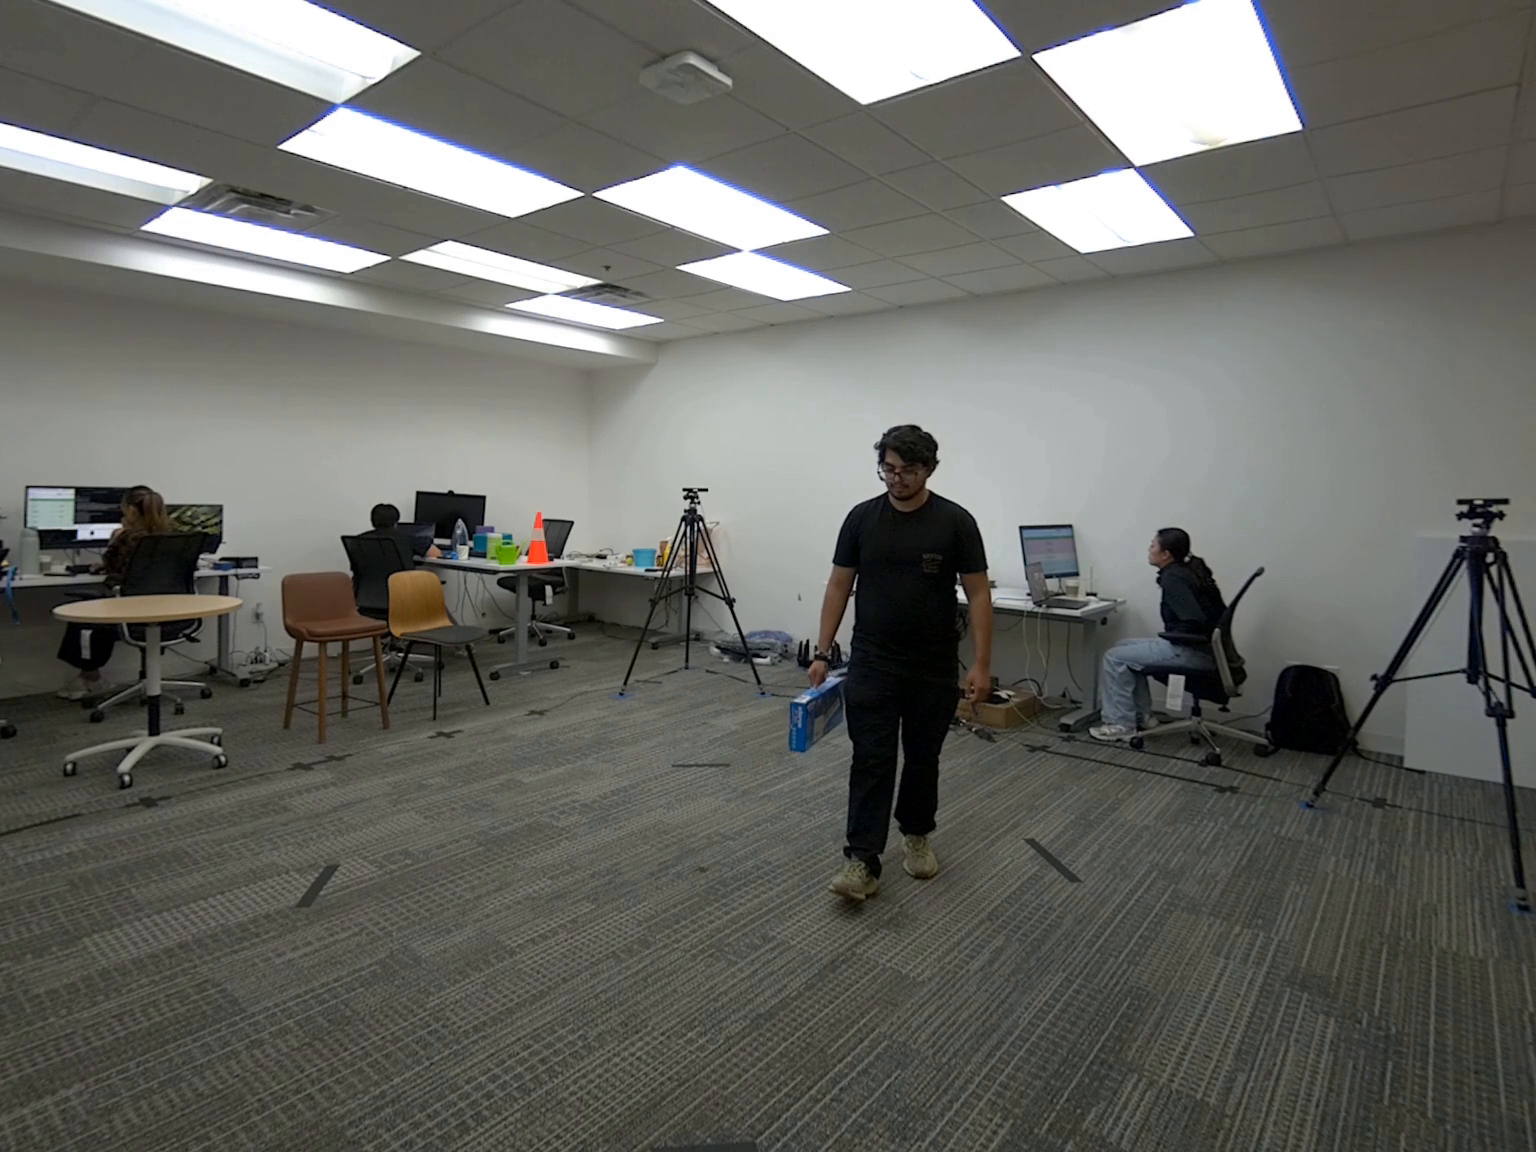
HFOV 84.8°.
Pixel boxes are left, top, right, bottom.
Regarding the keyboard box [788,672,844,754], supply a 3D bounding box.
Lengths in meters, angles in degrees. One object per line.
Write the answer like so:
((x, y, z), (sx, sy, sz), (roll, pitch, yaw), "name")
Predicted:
((0.174, 0.495, 3.108), (0.060, 0.175, 0.428), (2, 6, 23), "keyboard box")
